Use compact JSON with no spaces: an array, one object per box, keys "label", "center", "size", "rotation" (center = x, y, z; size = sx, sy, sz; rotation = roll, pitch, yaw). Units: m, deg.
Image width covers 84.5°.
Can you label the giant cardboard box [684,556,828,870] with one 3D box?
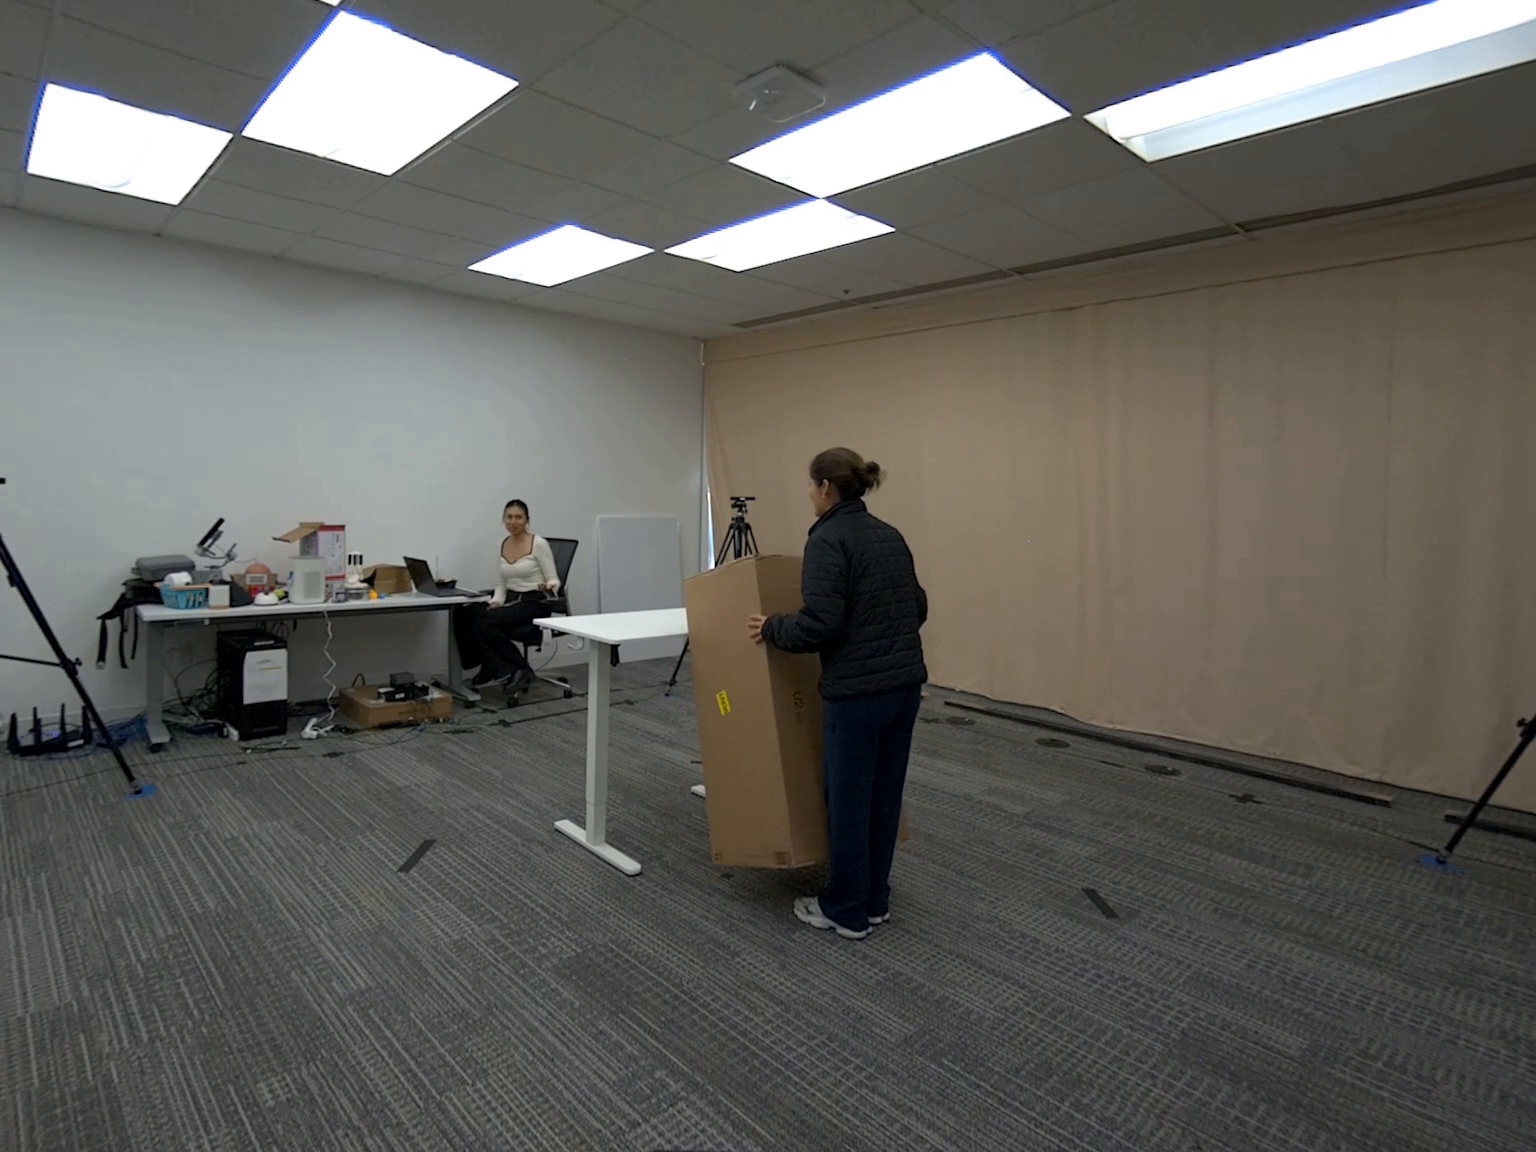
[{"label":"giant cardboard box","center":[0.086,0.476,3.087],"size":[0.570,1.038,0.453],"rotation":[3,-17,-39]}]
